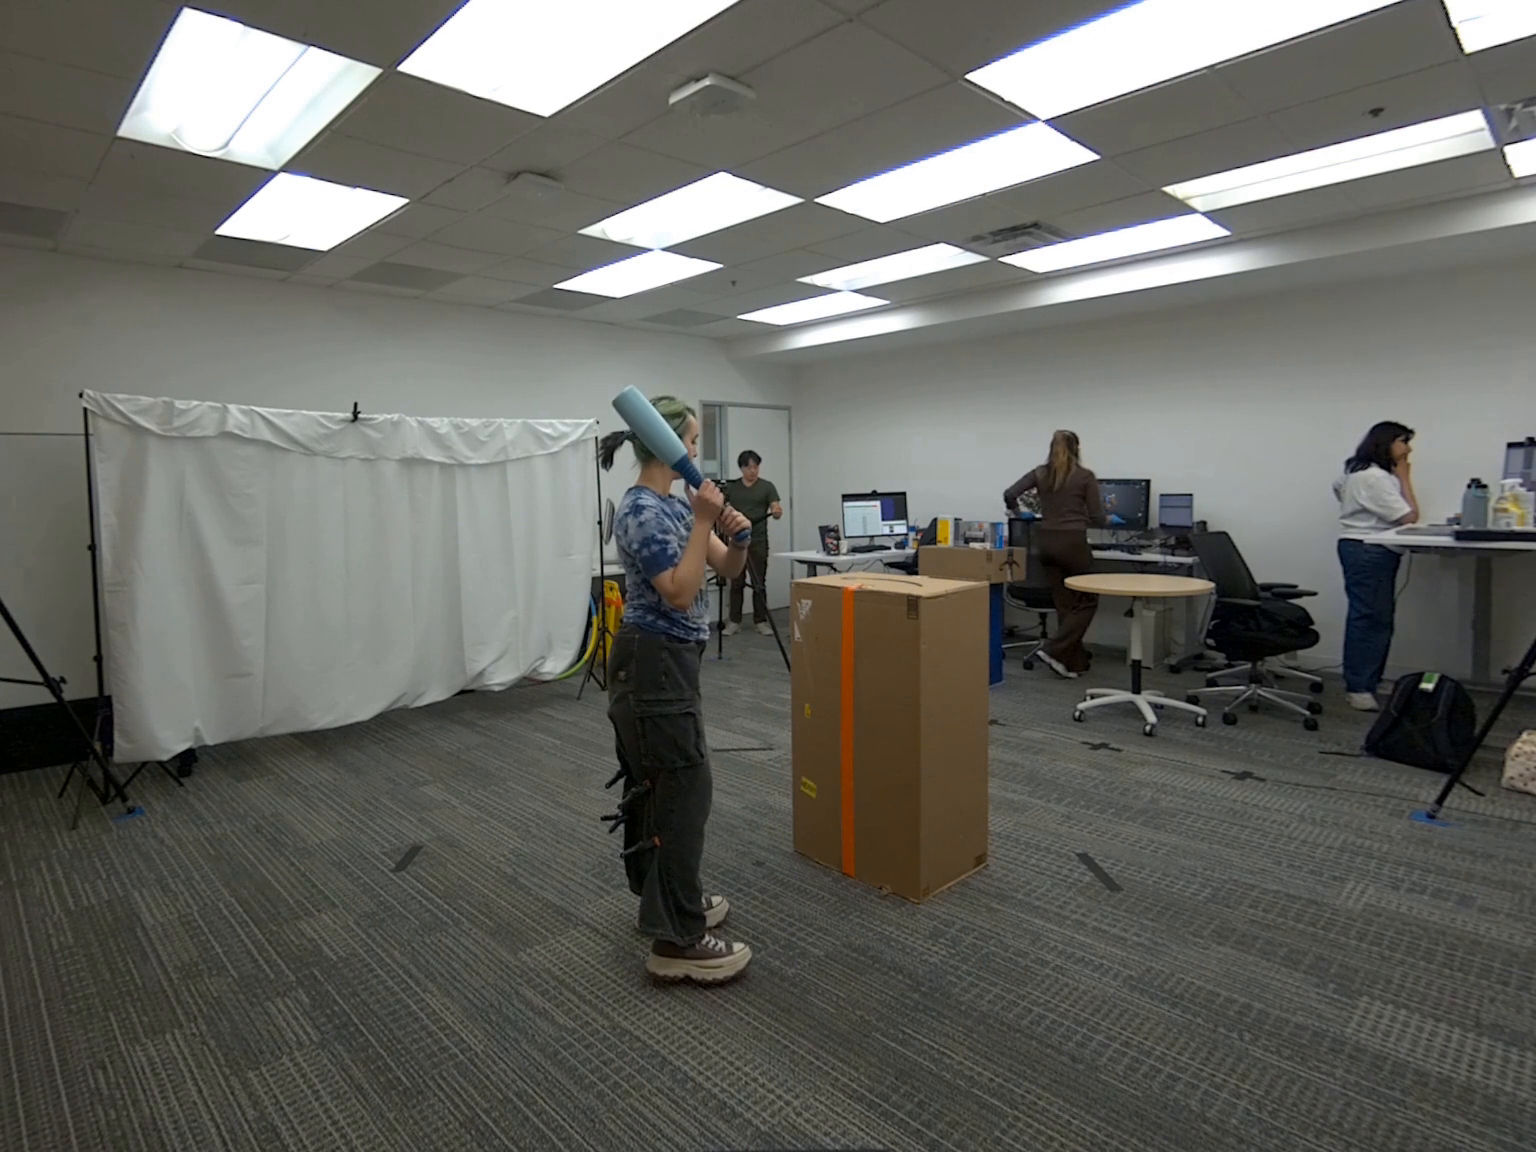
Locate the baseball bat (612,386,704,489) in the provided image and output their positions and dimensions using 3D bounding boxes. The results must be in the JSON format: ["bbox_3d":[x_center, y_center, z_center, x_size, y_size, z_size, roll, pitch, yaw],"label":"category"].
[{"bbox_3d":[-0.244,-0.312,2.424,0.089,0.539,0.089,-40,5,4],"label":"baseball bat"}]
